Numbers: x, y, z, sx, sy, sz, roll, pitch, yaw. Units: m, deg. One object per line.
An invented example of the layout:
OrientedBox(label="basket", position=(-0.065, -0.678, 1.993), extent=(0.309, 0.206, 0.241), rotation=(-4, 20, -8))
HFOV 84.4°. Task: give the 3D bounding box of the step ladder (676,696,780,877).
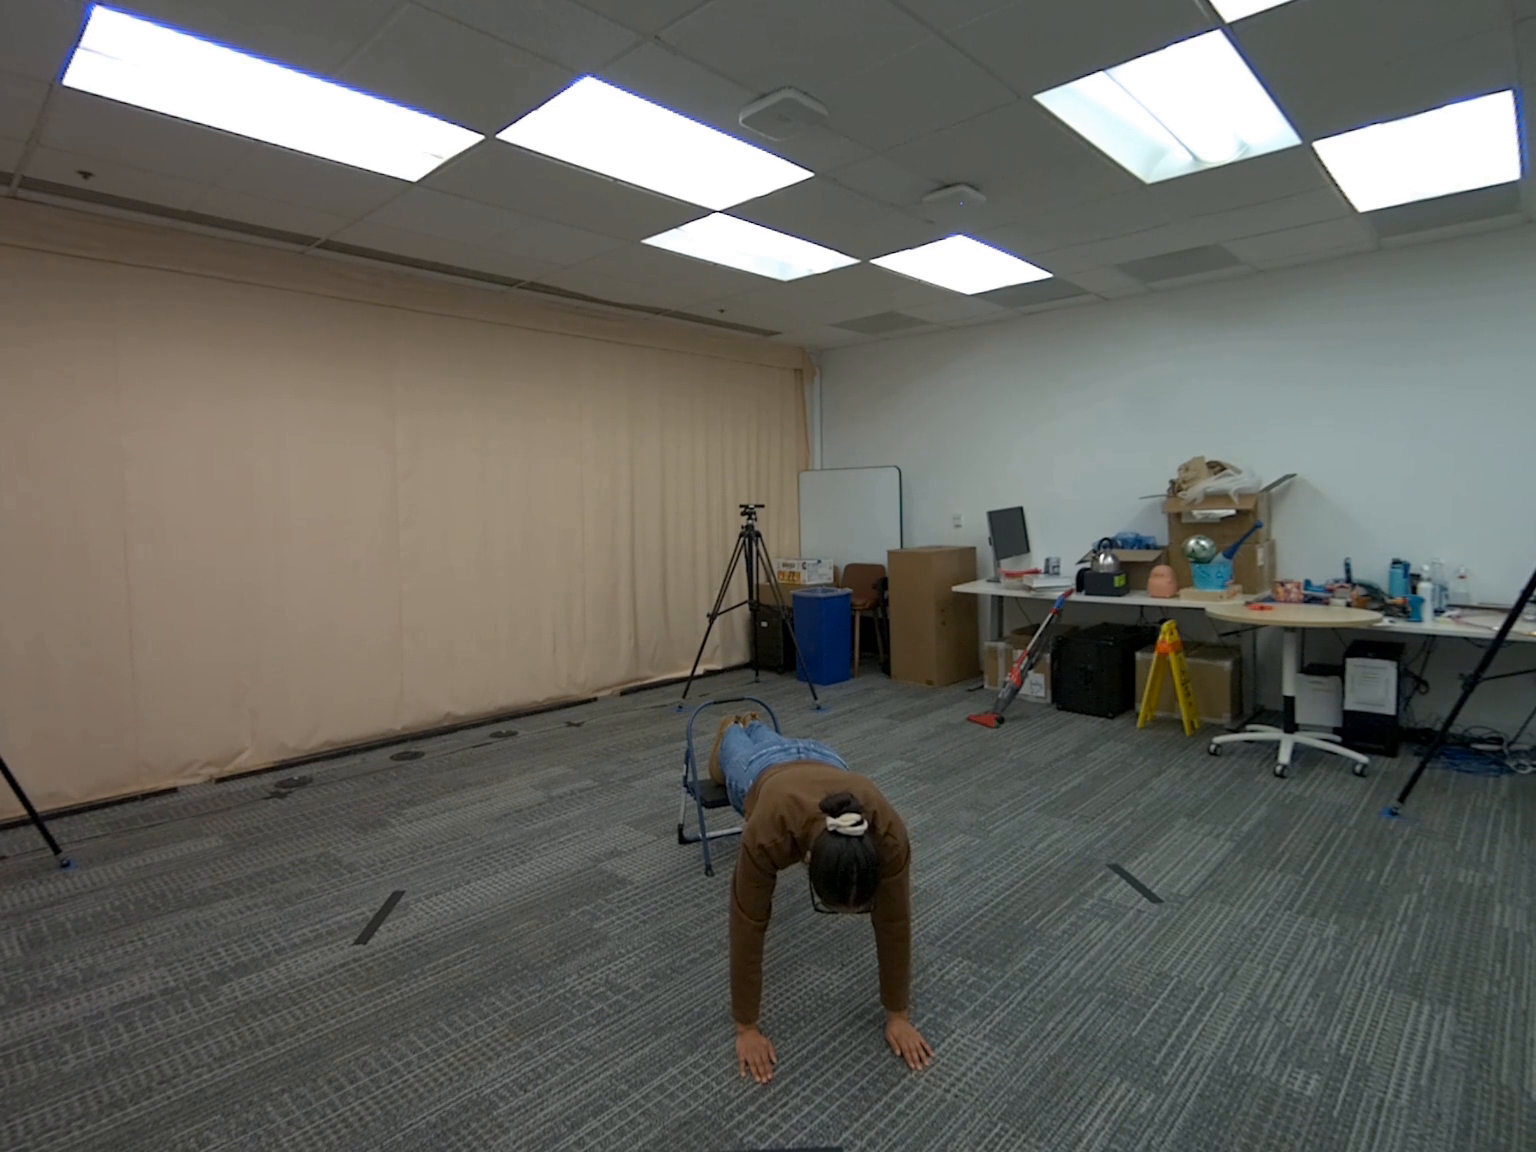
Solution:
OrientedBox(label="step ladder", position=(-0.118, 0.808, 3.390), extent=(0.420, 0.605, 0.358), rotation=(-3, 4, -25))
